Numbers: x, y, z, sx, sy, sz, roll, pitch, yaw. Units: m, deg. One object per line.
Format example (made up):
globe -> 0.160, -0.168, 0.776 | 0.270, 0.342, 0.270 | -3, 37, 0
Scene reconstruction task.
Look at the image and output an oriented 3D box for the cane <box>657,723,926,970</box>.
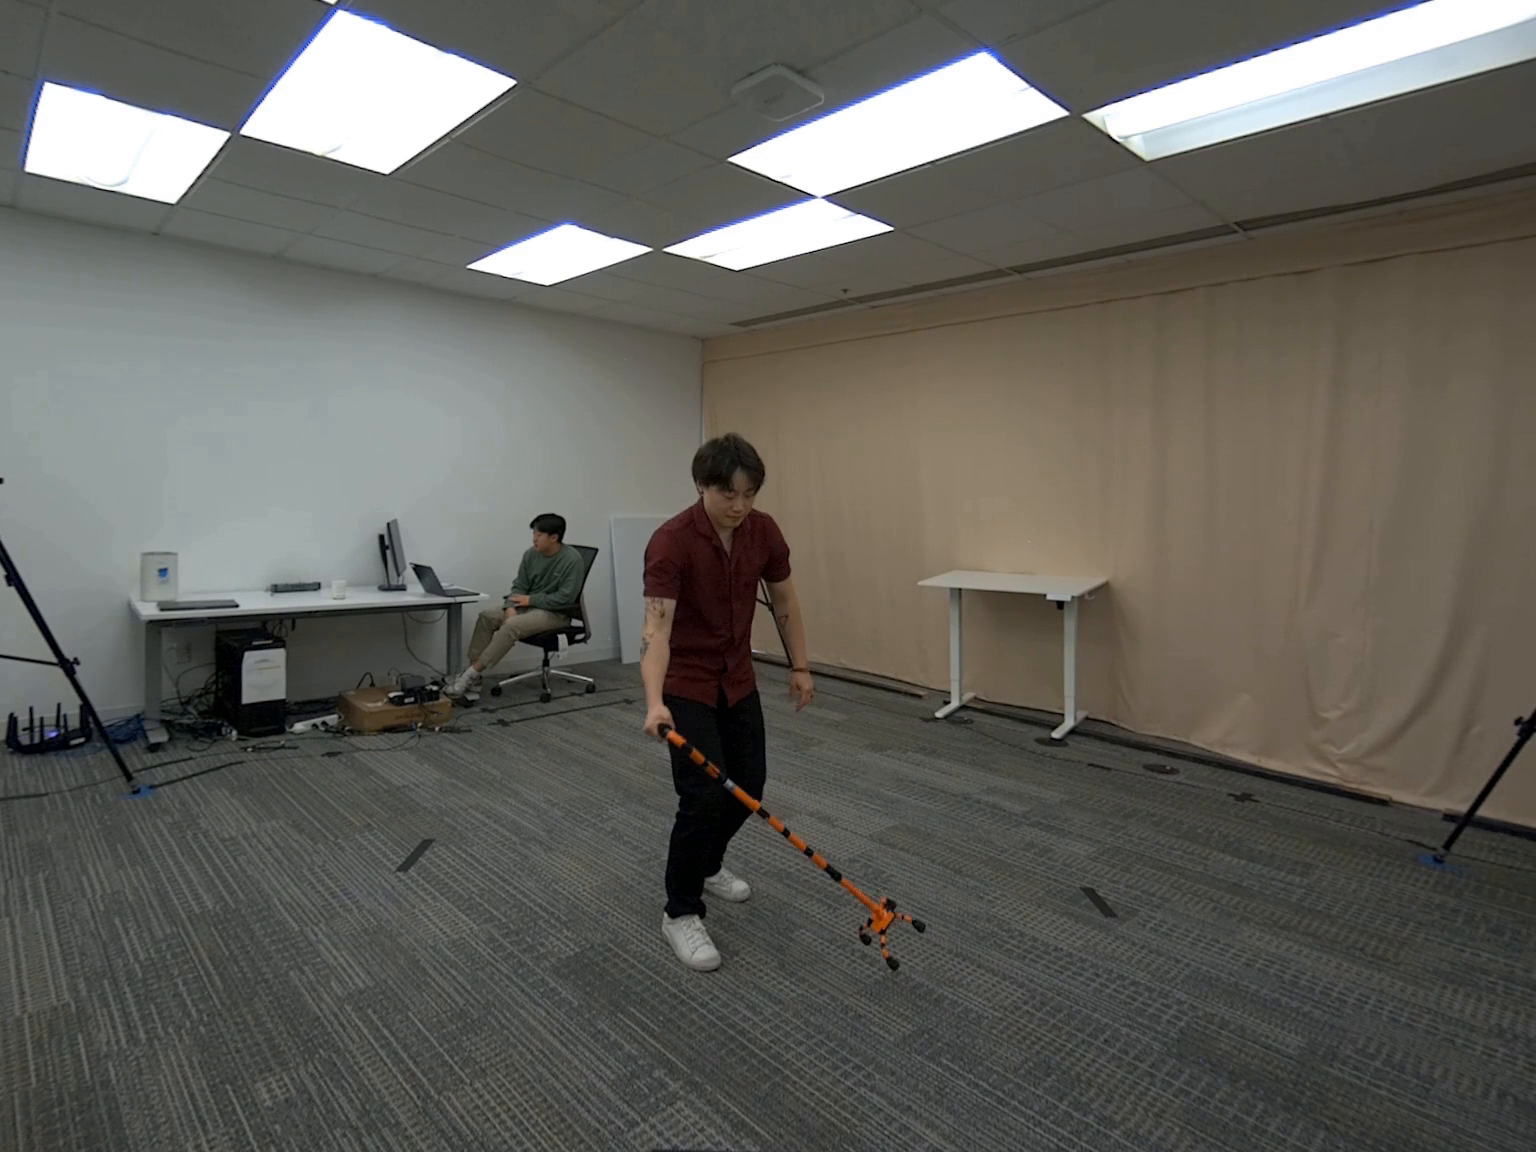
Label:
cane -> 0.028, 0.724, 2.319 | 0.899, 0.151, 0.208 | 44, -14, -9
